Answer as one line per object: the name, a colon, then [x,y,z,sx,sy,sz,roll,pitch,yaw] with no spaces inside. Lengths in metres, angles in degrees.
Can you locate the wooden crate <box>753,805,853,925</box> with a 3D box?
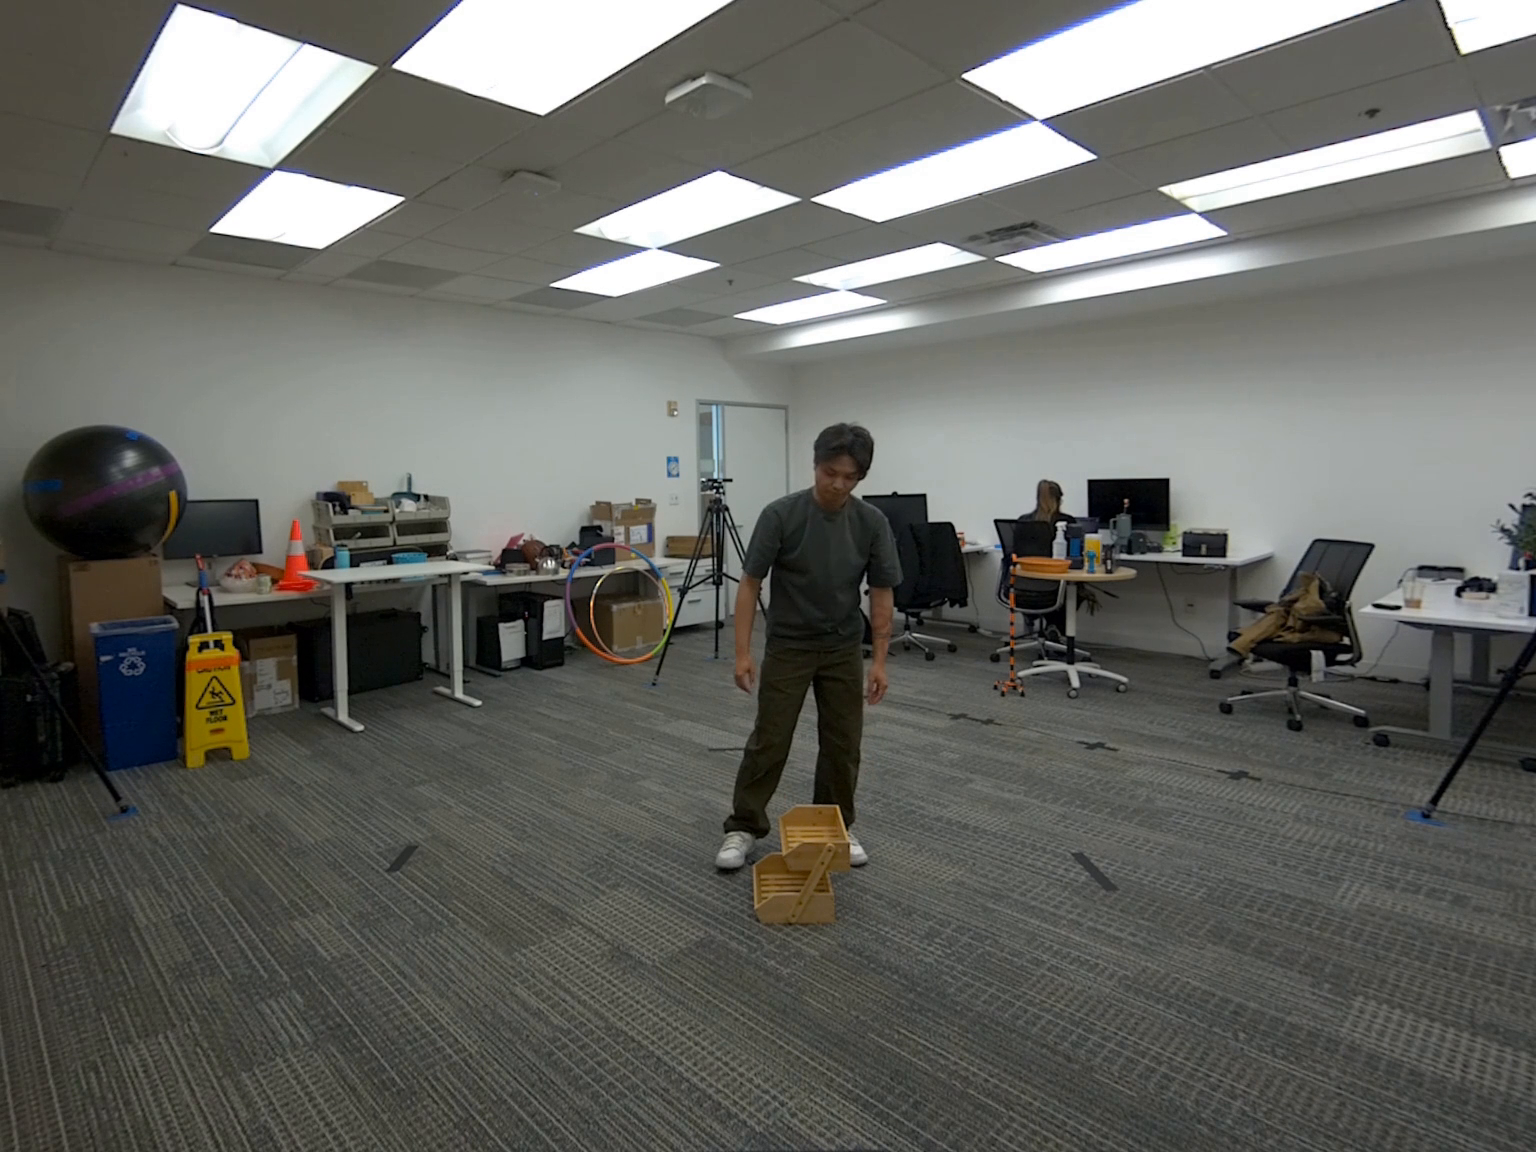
wooden crate: [0.098,0.940,2.818,0.302,0.272,0.326,-1,6,-1]
